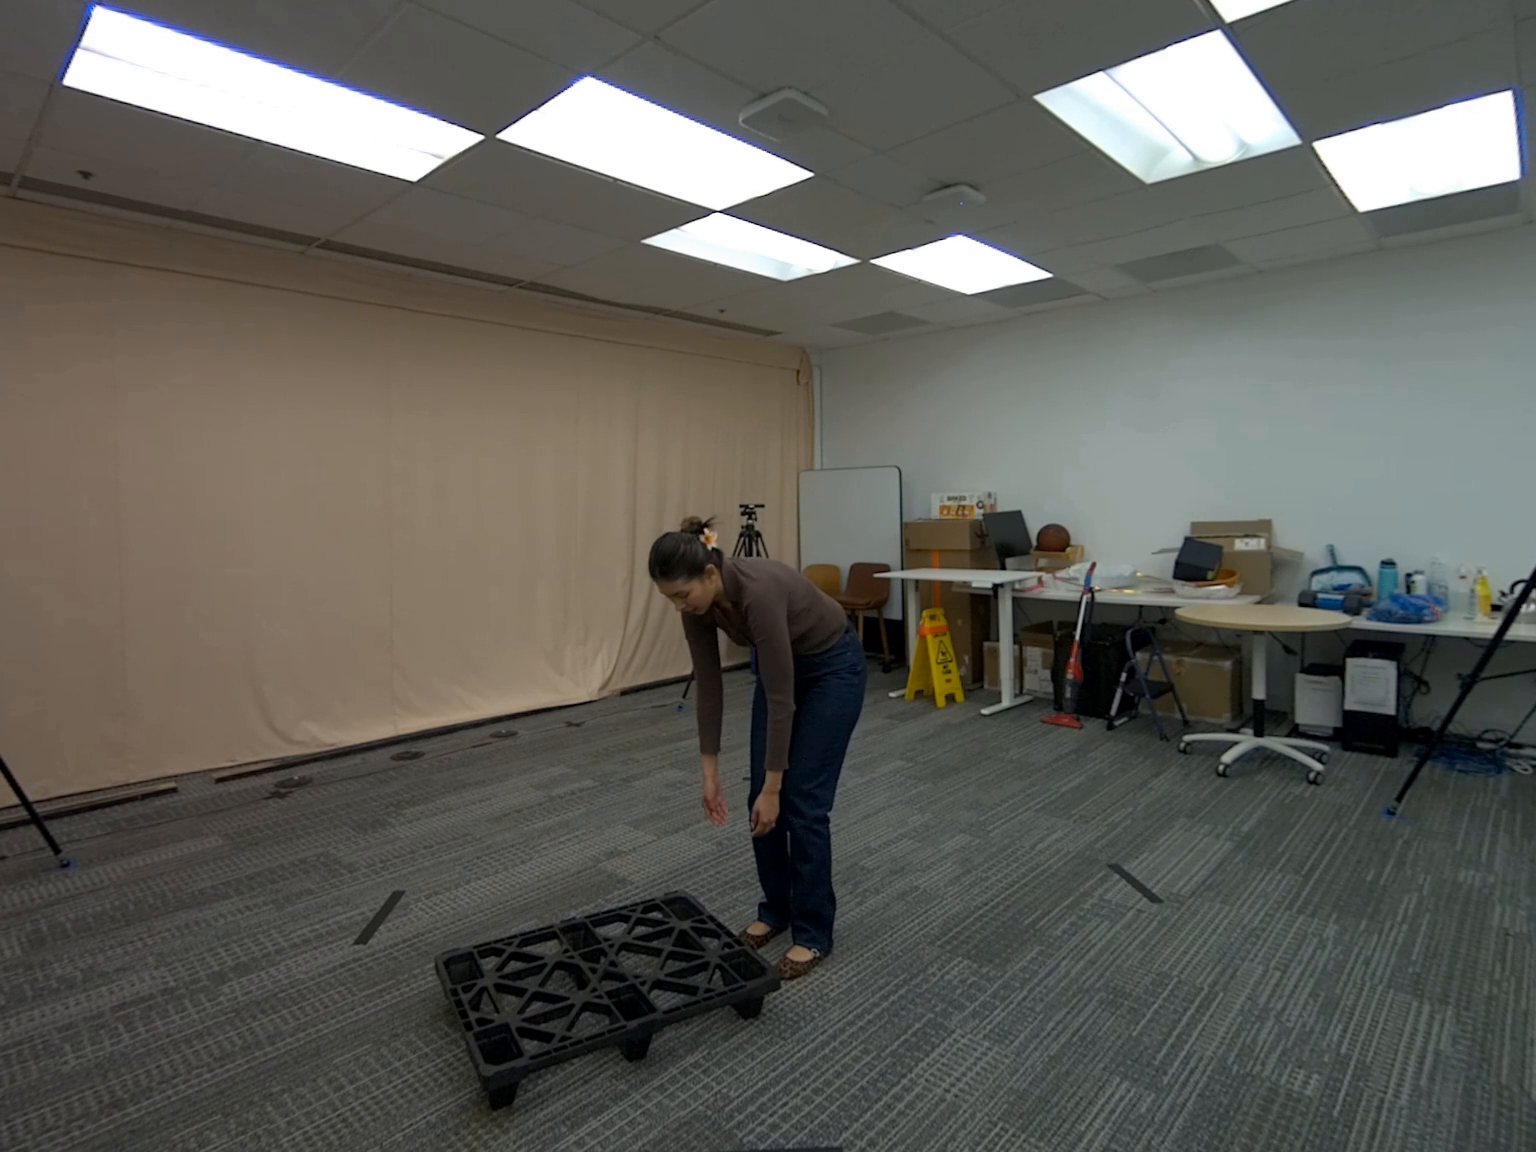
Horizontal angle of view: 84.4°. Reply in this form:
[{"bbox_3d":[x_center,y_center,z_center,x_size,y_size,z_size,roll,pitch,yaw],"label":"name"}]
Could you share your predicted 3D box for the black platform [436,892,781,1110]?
[{"bbox_3d":[-0.447,1.140,2.316,0.784,0.143,0.623,-4,6,-30],"label":"black platform"}]
